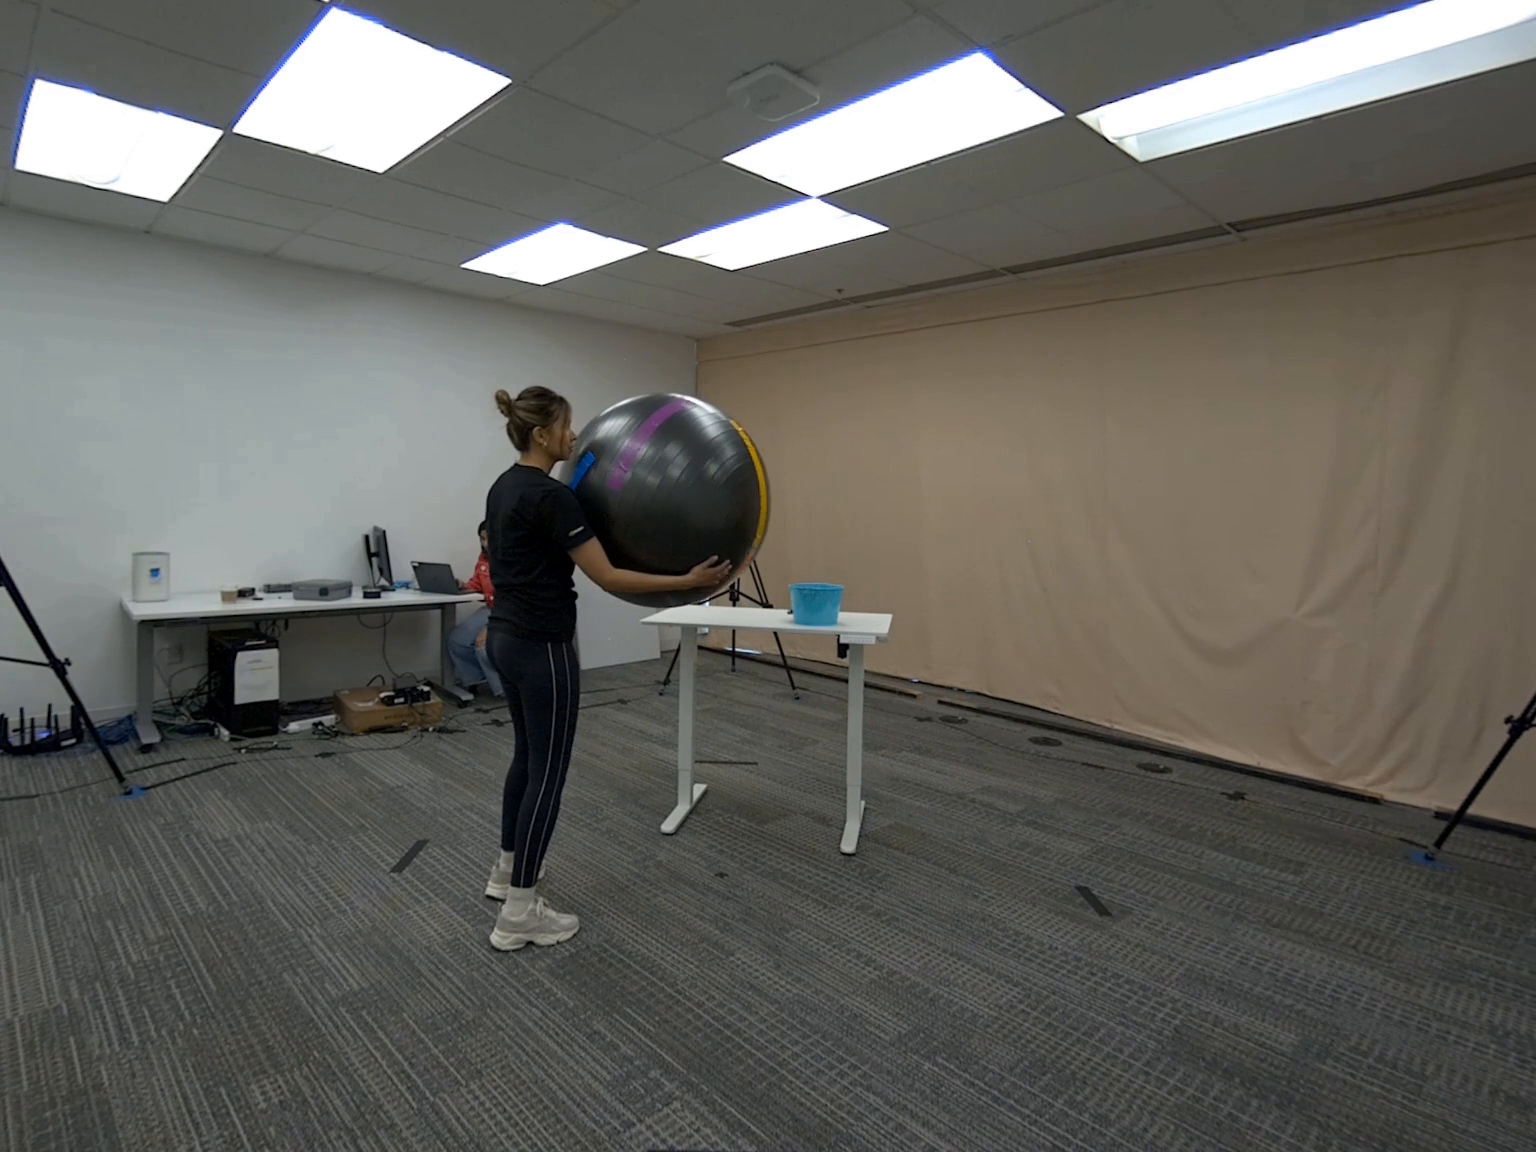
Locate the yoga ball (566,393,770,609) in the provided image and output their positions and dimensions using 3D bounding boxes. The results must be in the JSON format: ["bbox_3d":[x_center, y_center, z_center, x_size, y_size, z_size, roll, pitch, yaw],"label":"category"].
[{"bbox_3d":[-0.373,-0.257,2.987,0.757,0.756,0.761,1,4,-1],"label":"yoga ball"}]
